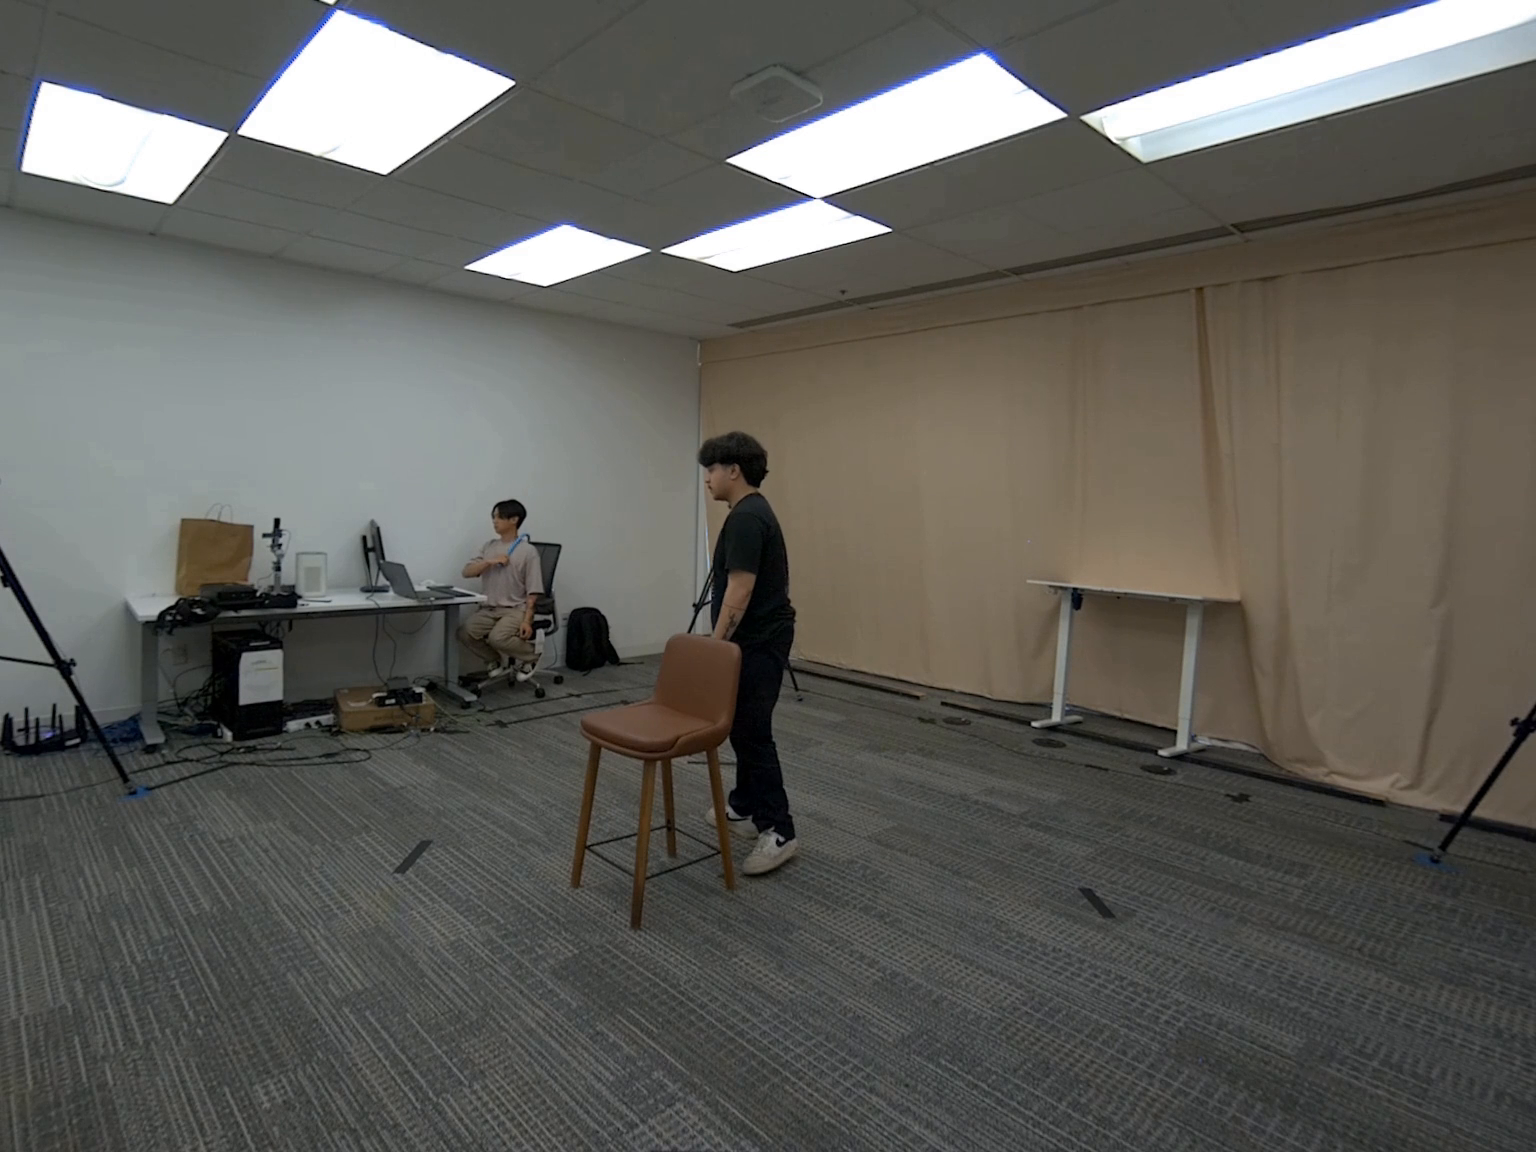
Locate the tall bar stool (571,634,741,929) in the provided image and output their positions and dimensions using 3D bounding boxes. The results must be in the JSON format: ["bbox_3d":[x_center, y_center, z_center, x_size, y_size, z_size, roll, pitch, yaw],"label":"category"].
[{"bbox_3d":[-0.394,0.678,2.973,0.456,0.889,0.468,1,2,-42],"label":"tall bar stool"}]
